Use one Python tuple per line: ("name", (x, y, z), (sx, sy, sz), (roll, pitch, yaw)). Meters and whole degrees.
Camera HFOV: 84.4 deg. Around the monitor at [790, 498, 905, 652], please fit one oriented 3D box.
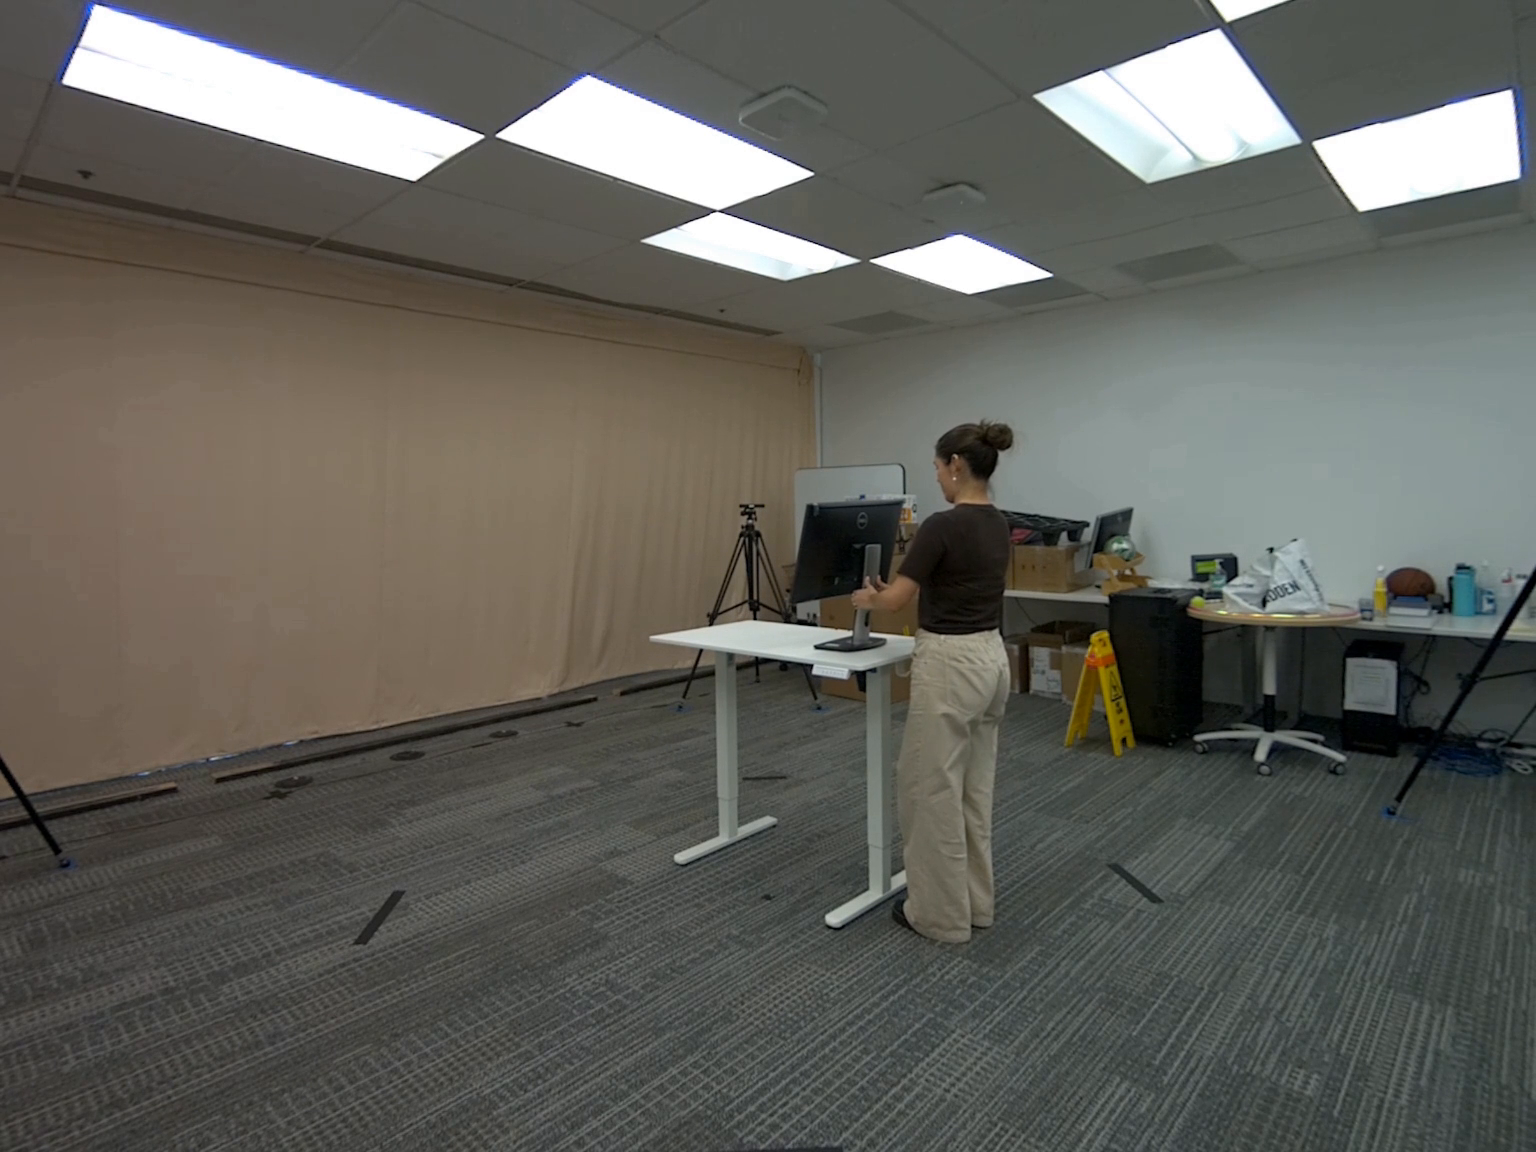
("monitor", (0.314, -0.003, 2.978), (0.193, 0.521, 0.523), (3, 7, 43))
